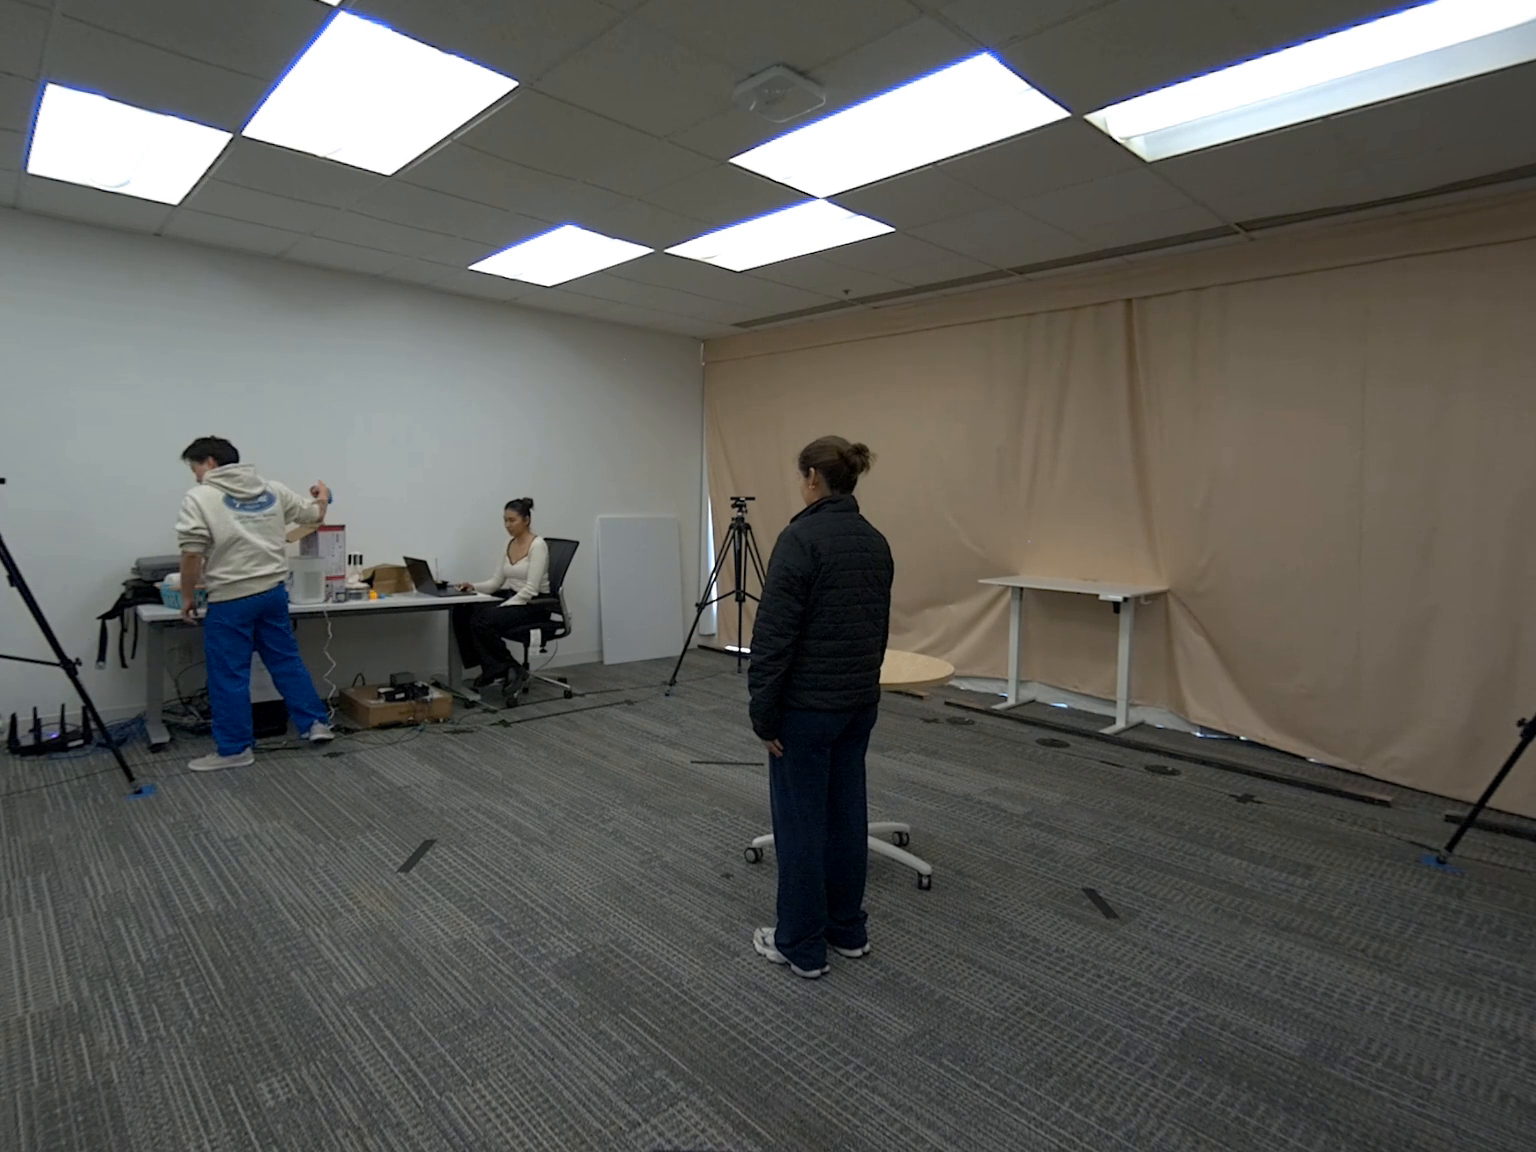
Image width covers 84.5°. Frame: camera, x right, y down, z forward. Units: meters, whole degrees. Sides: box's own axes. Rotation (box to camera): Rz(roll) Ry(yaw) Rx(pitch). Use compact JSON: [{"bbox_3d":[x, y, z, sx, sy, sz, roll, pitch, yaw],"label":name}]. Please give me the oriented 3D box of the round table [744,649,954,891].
[{"bbox_3d":[0.289,0.720,3.187,0.784,0.785,0.787,1,4,-1],"label":"round table"}]
